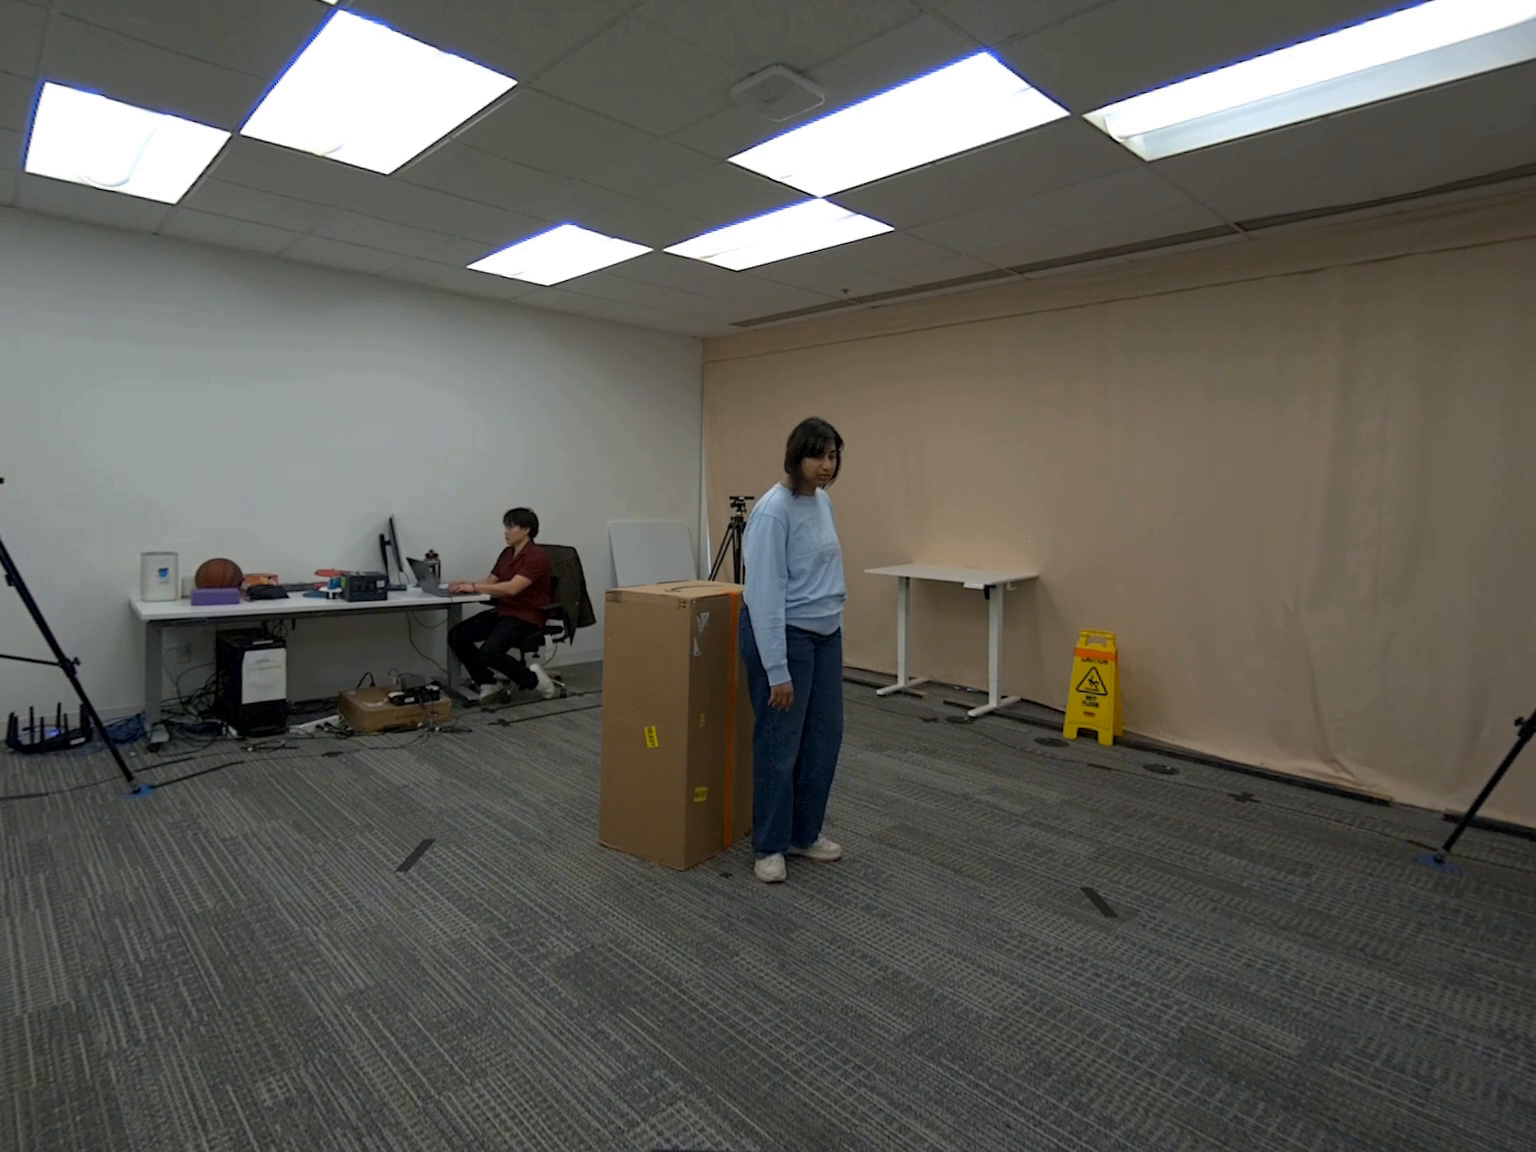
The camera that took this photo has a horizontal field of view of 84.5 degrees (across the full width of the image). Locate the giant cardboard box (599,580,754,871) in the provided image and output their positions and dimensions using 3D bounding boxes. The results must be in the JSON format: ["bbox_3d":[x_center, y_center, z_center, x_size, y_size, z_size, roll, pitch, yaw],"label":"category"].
[{"bbox_3d":[-0.338,0.558,3.456,0.436,1.023,0.565,4,4,32],"label":"giant cardboard box"}]
